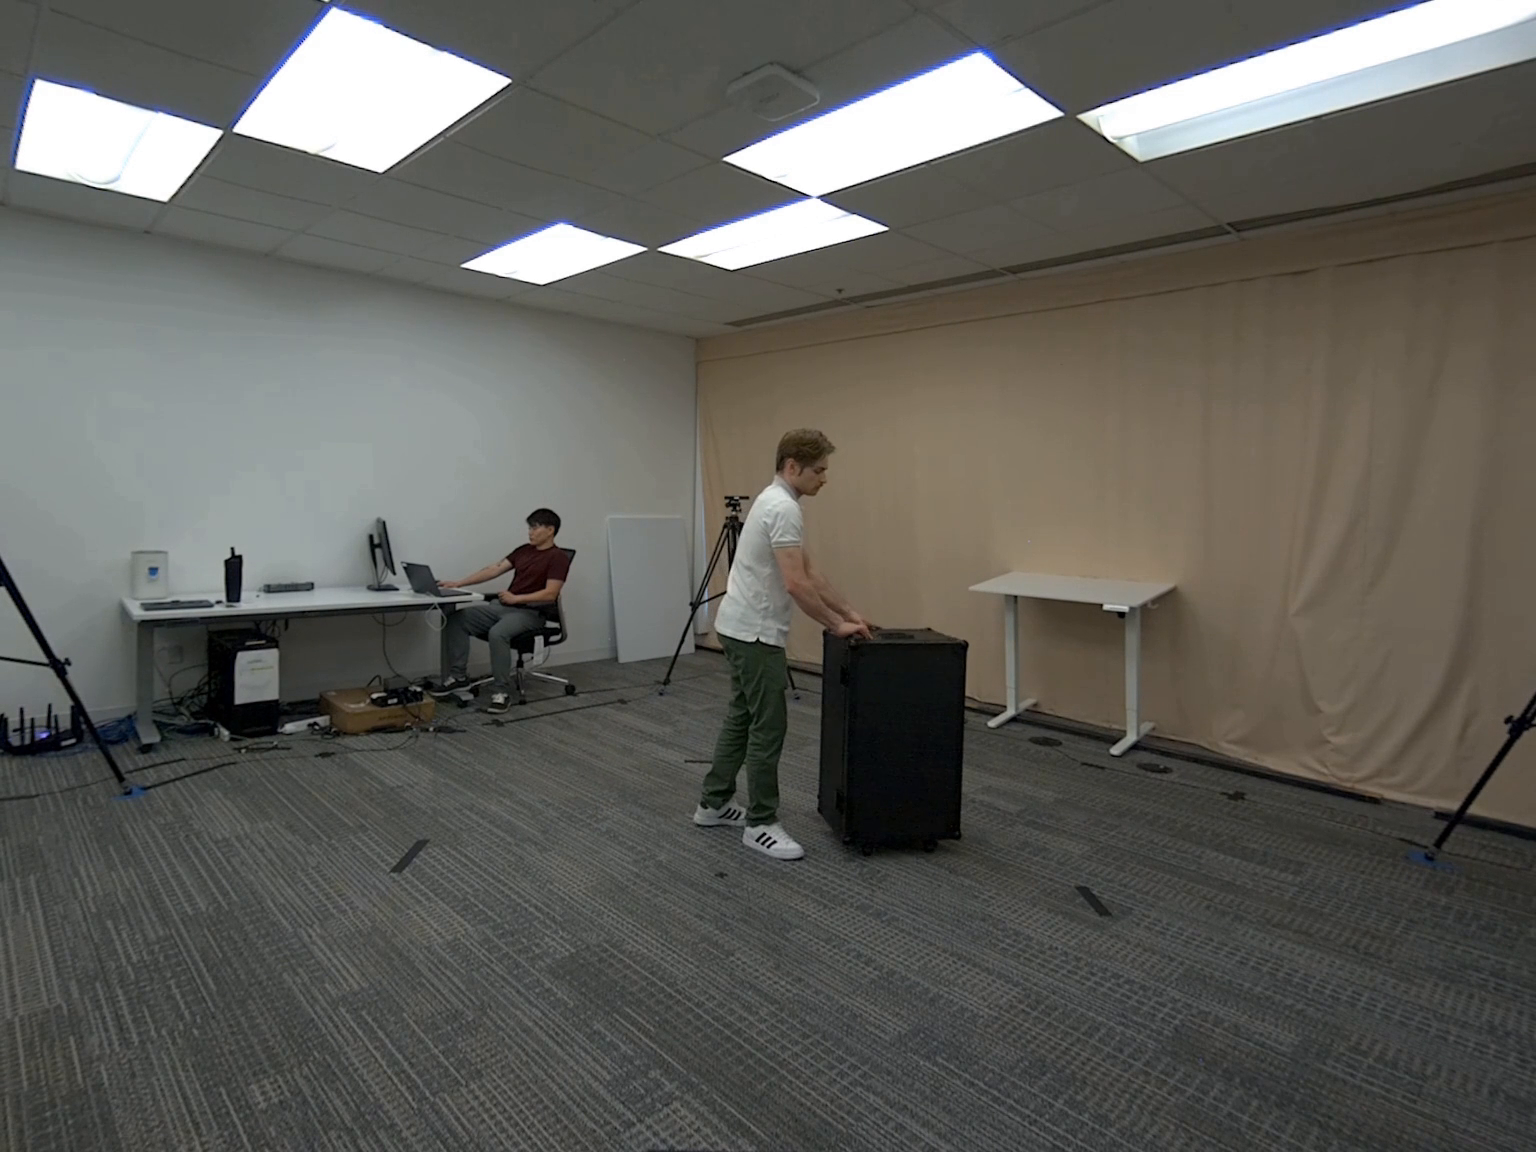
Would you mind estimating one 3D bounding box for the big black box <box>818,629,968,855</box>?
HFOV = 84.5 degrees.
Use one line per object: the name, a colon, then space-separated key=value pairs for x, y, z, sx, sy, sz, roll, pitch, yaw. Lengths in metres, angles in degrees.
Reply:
big black box: x=0.480 y=0.665 z=3.432 sx=0.518 sy=0.867 sz=0.390 roll=1 pitch=3 yaw=-13
